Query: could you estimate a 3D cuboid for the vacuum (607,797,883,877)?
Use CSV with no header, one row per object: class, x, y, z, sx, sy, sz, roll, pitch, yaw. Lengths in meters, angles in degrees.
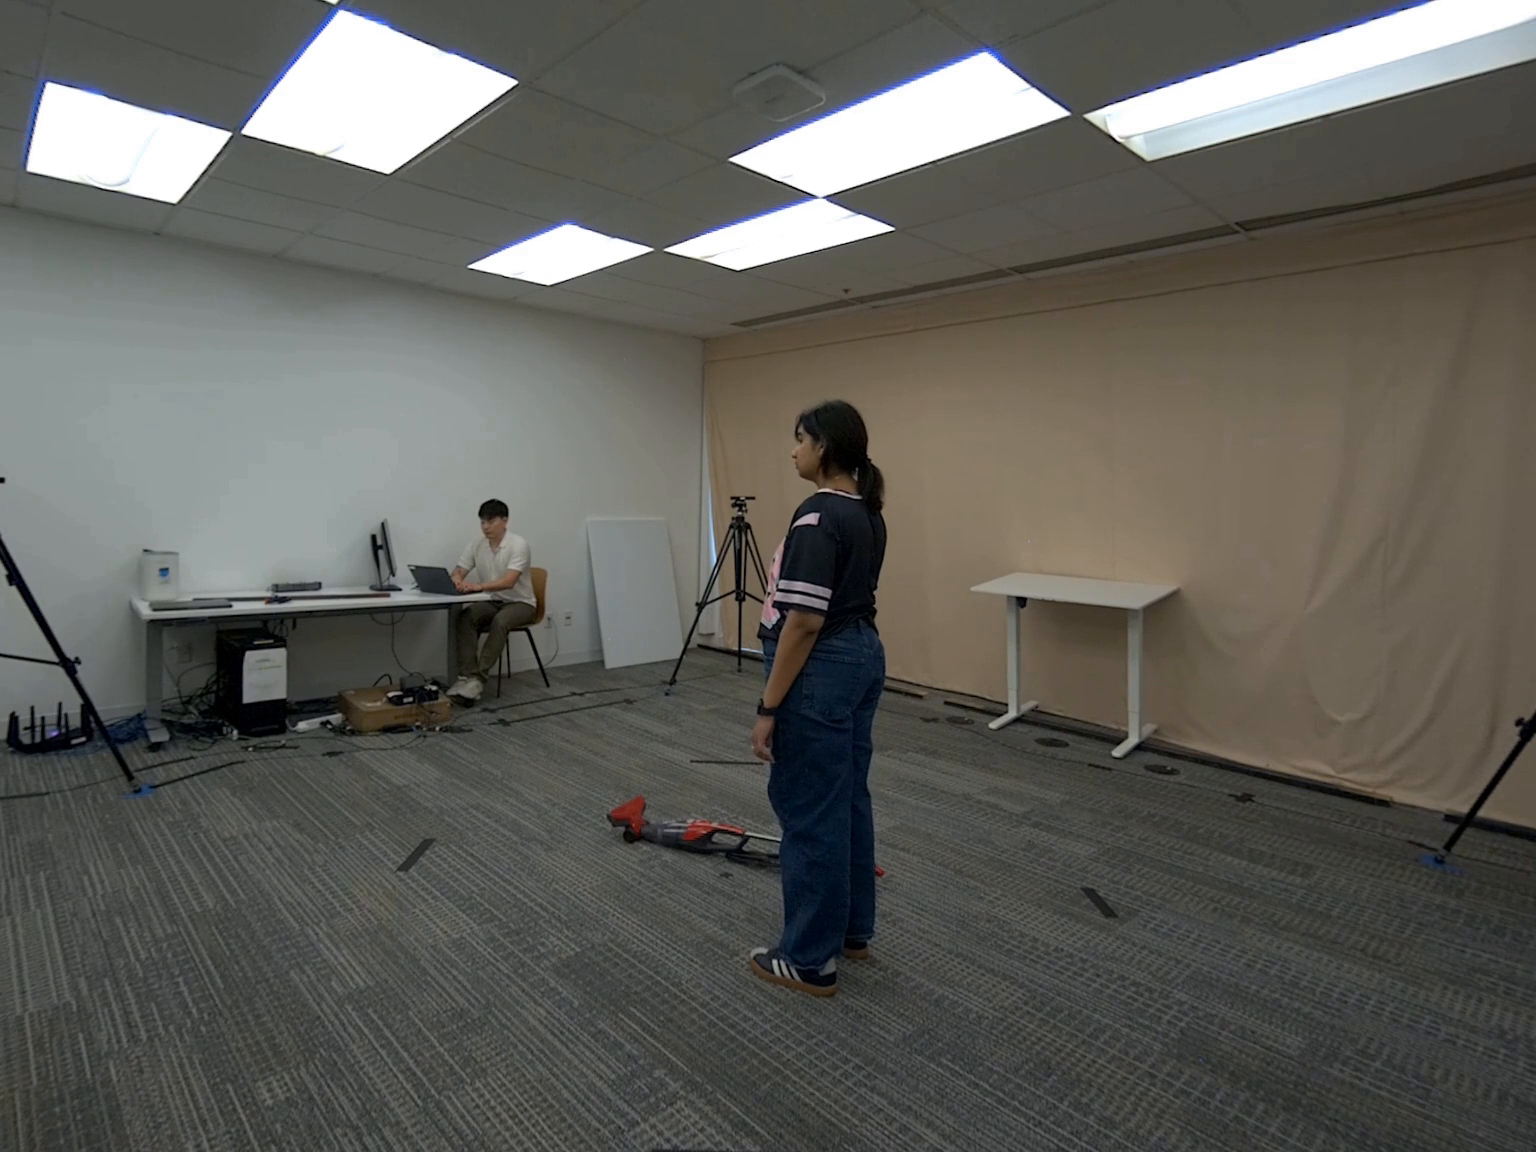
vacuum,-0.090,1.032,3.218,1.069,0.143,0.248,4,4,25
